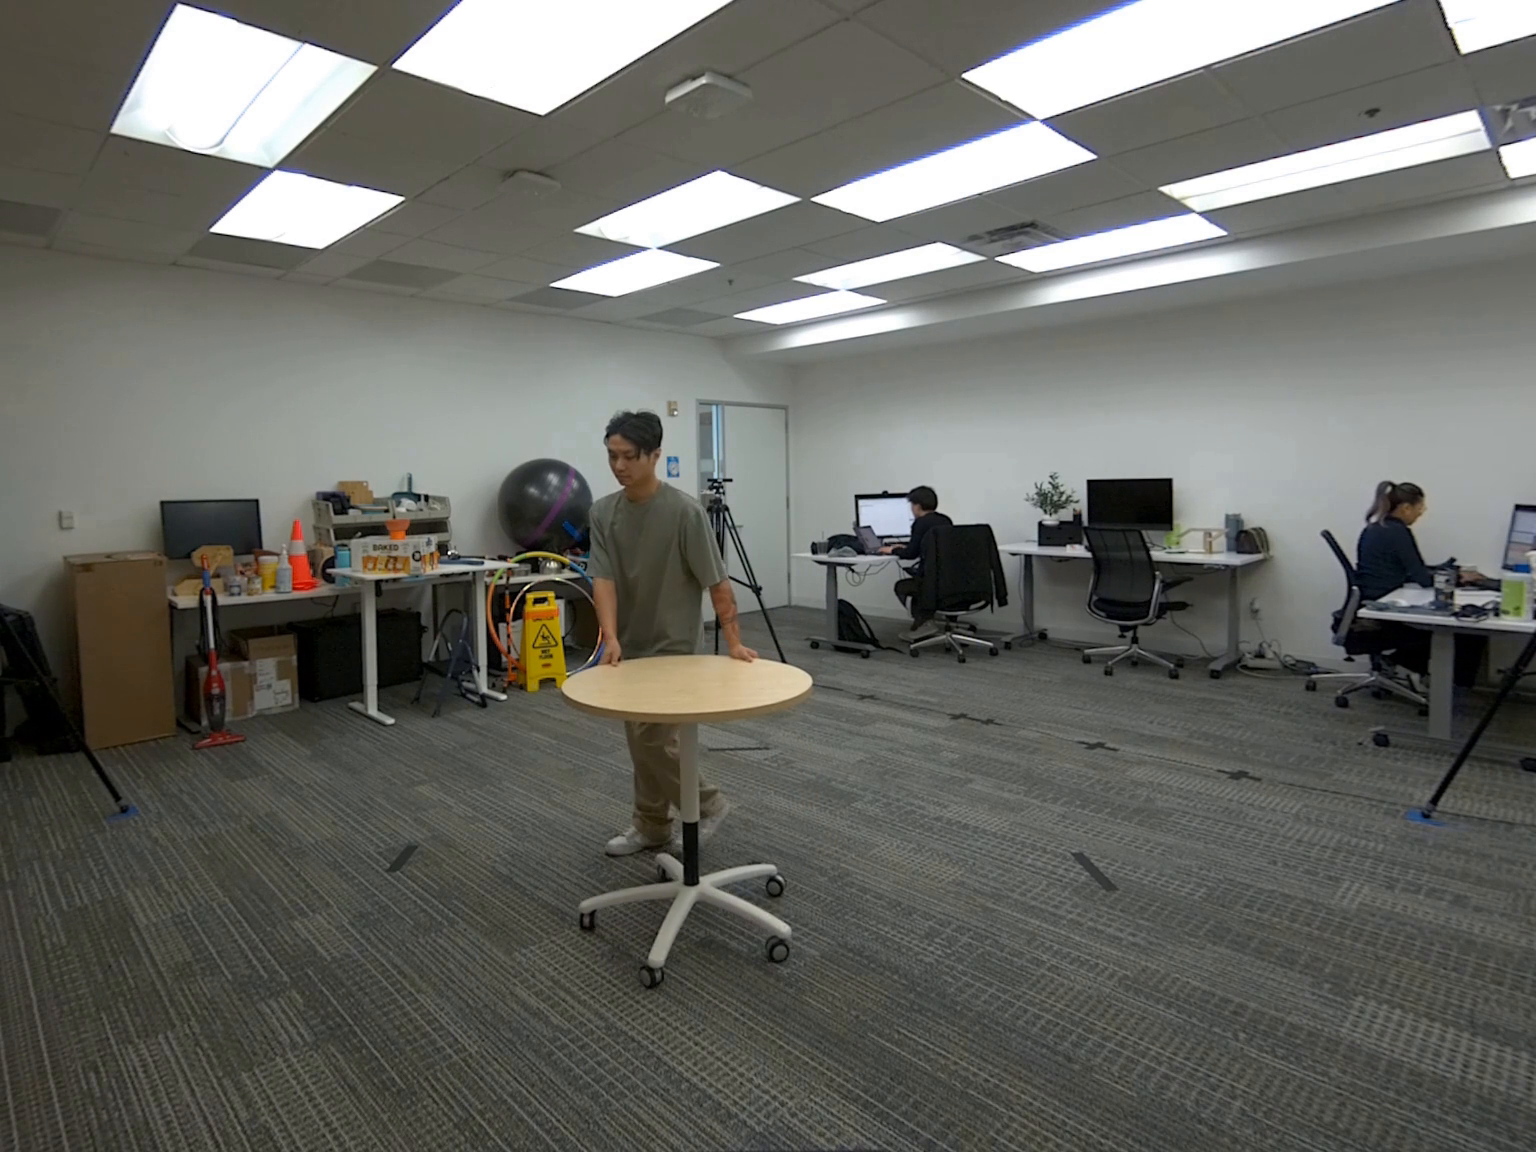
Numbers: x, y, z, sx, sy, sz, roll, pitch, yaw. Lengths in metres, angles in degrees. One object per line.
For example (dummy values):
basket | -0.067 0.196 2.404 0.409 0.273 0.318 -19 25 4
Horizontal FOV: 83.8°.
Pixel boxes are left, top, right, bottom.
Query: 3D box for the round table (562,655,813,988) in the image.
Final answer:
round table | -0.246 0.711 2.646 0.784 0.783 0.789 -1 5 -2
